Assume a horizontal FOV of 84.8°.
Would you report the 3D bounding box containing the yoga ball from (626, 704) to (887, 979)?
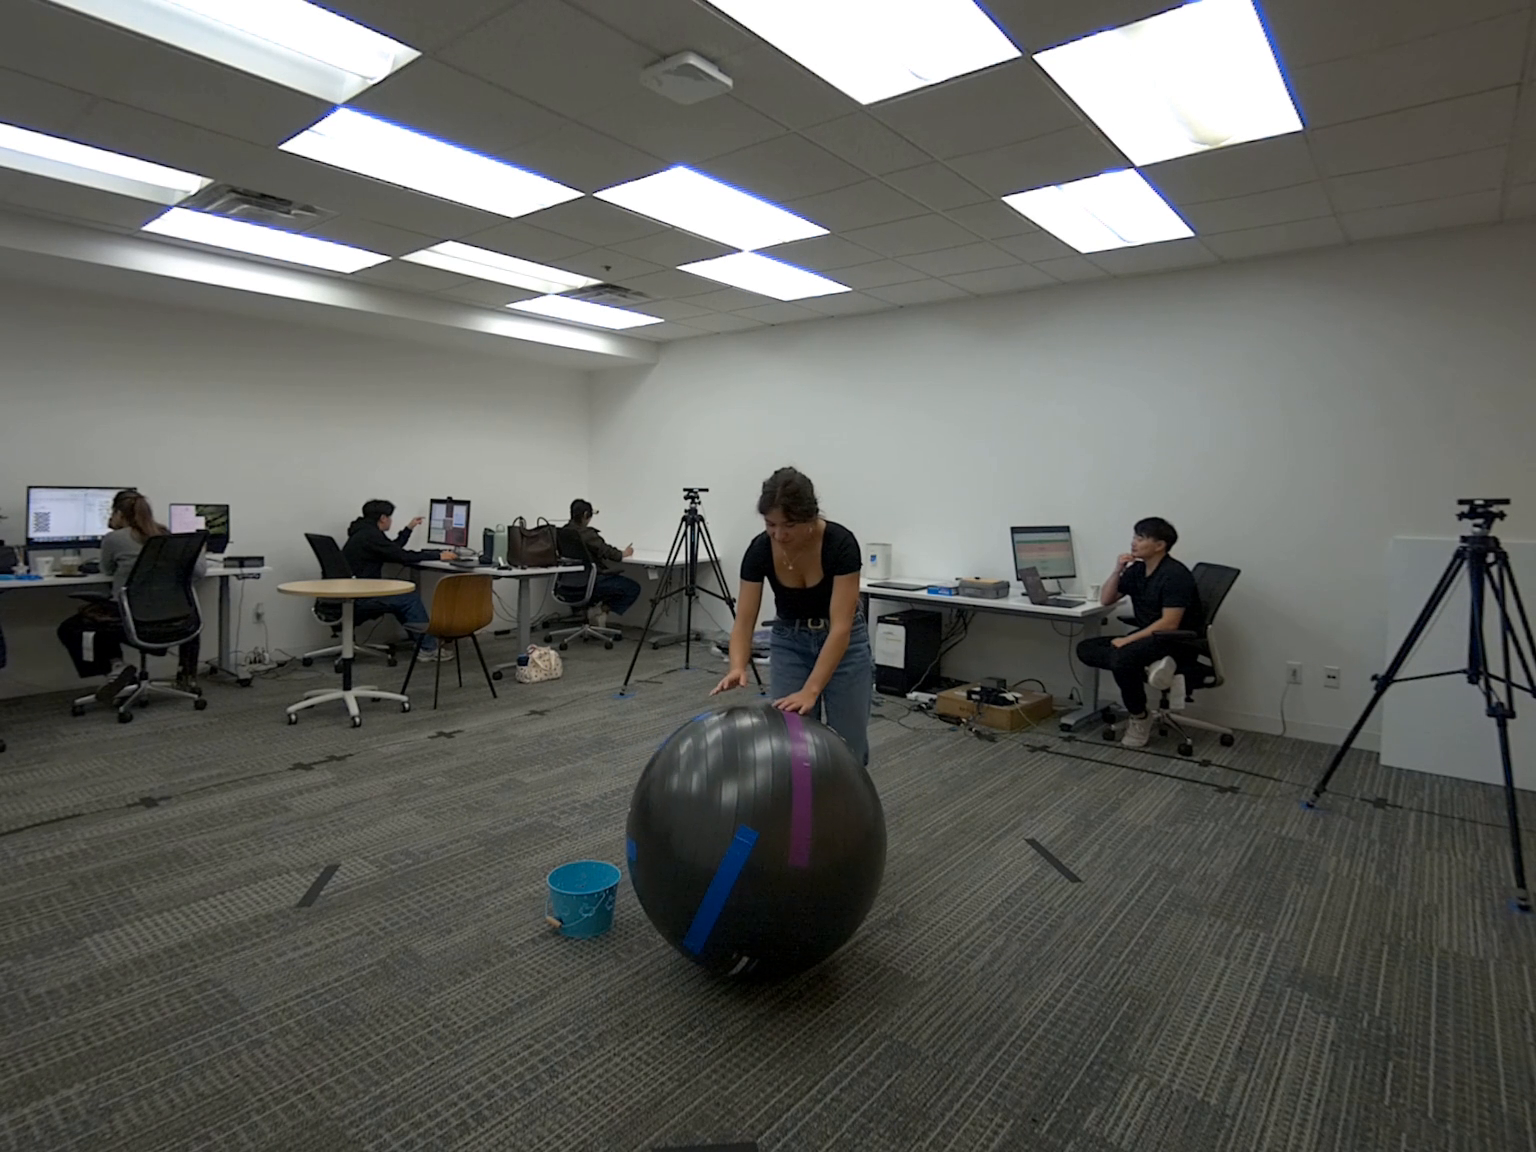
[{"bbox_3d":[-0.045,0.760,2.494,0.757,0.756,0.762,1,4,-2],"label":"yoga ball"}]
